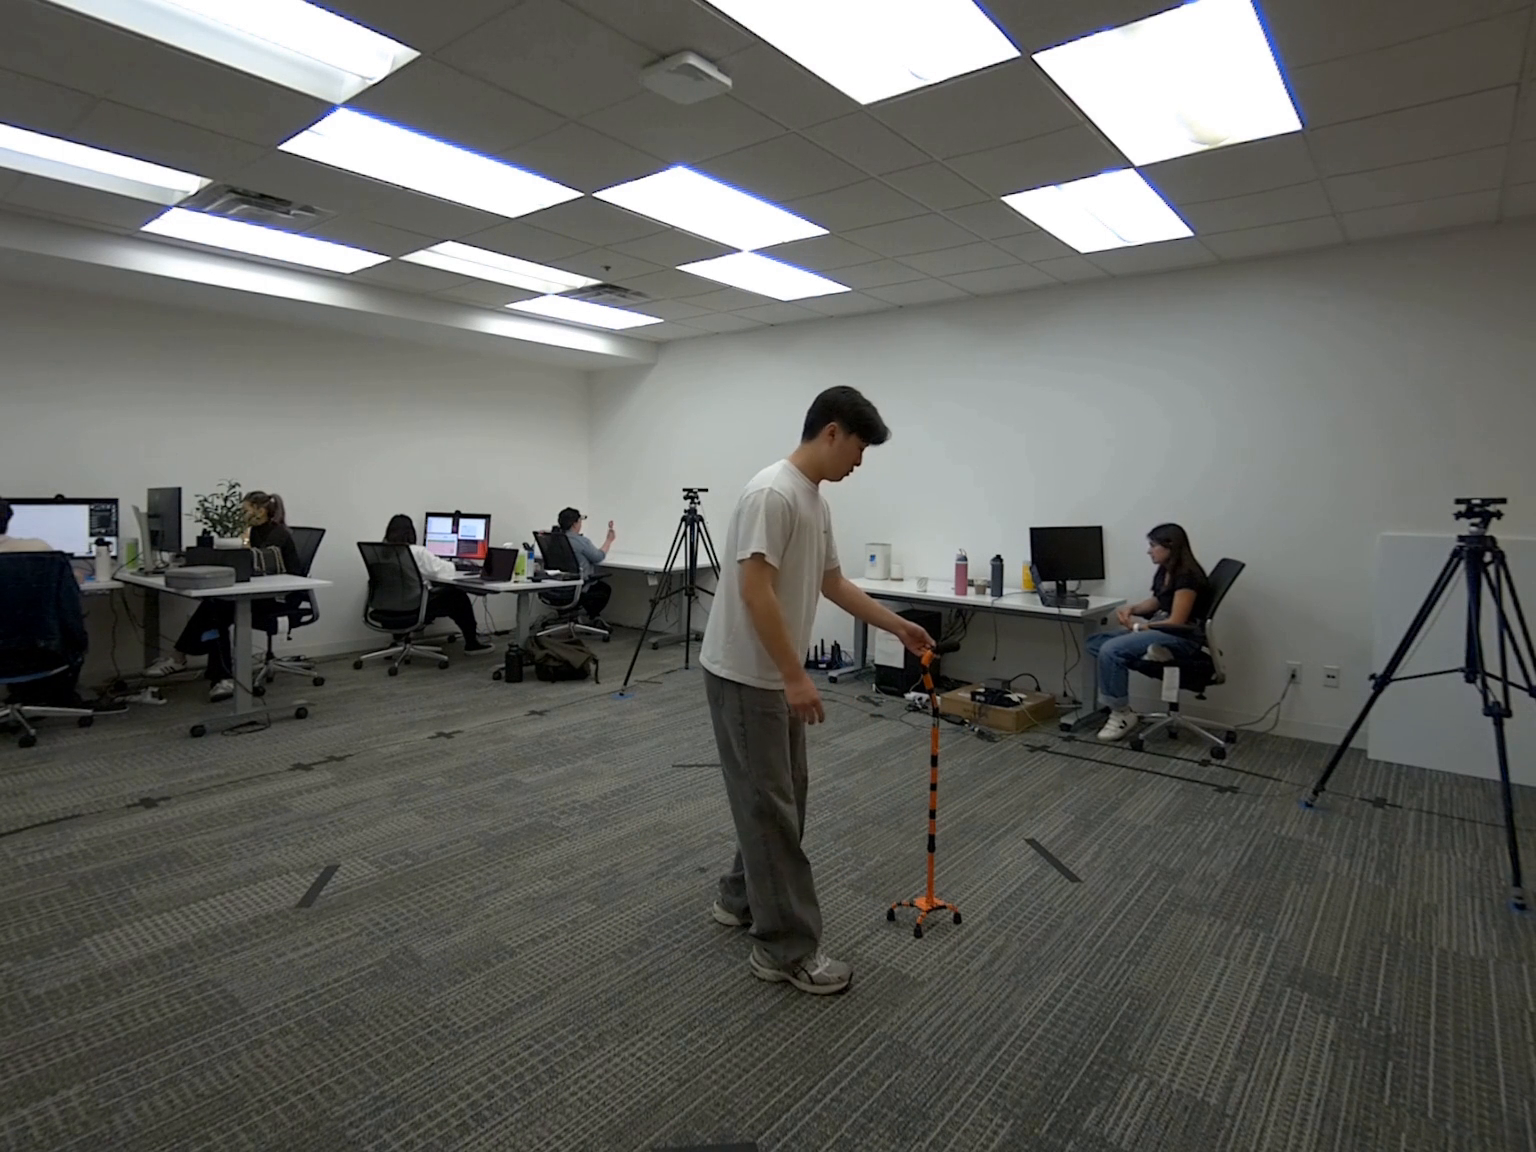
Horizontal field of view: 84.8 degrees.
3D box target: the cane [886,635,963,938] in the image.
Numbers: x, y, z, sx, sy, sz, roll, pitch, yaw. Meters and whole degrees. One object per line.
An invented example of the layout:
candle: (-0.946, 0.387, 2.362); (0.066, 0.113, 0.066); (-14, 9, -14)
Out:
cane: (0.527, 0.671, 2.748); (0.201, 0.906, 0.156); (0, 3, -33)
